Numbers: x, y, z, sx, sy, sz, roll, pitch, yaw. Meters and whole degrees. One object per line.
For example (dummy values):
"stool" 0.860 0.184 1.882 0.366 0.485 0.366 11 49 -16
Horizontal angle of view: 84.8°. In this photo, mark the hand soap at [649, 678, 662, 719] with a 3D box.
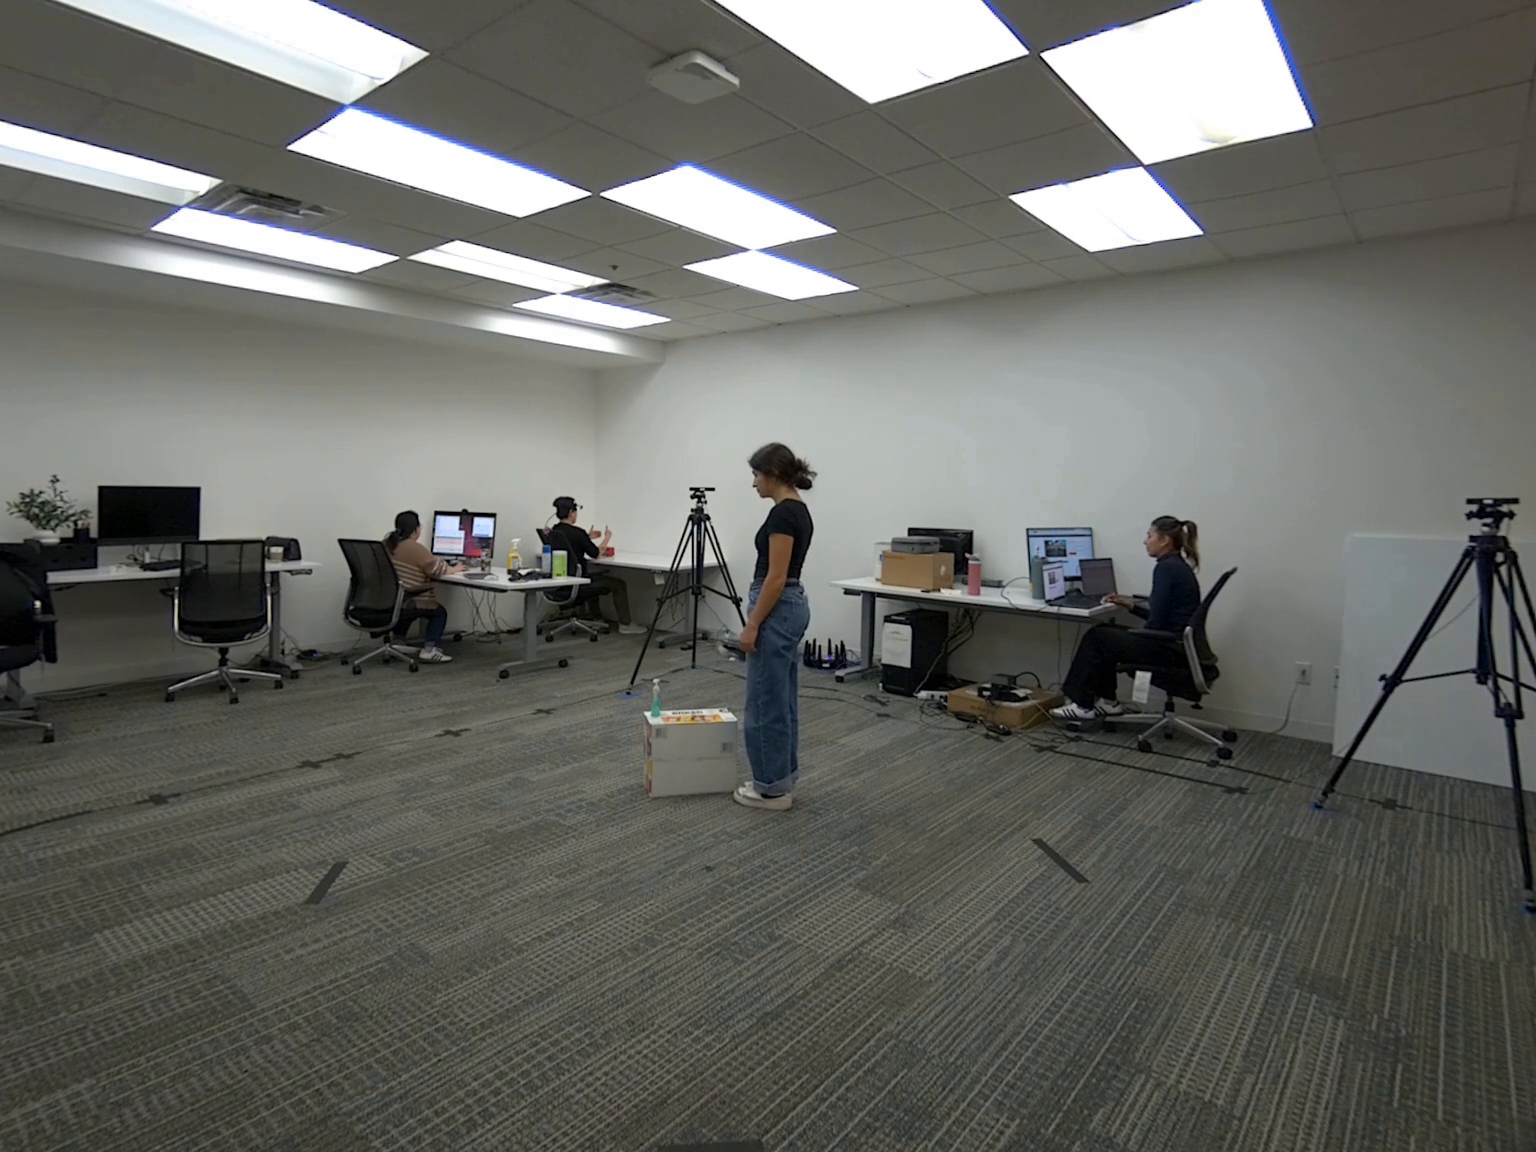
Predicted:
"hand soap" -0.531 0.558 3.942 0.043 0.167 0.085 -1 5 -5
